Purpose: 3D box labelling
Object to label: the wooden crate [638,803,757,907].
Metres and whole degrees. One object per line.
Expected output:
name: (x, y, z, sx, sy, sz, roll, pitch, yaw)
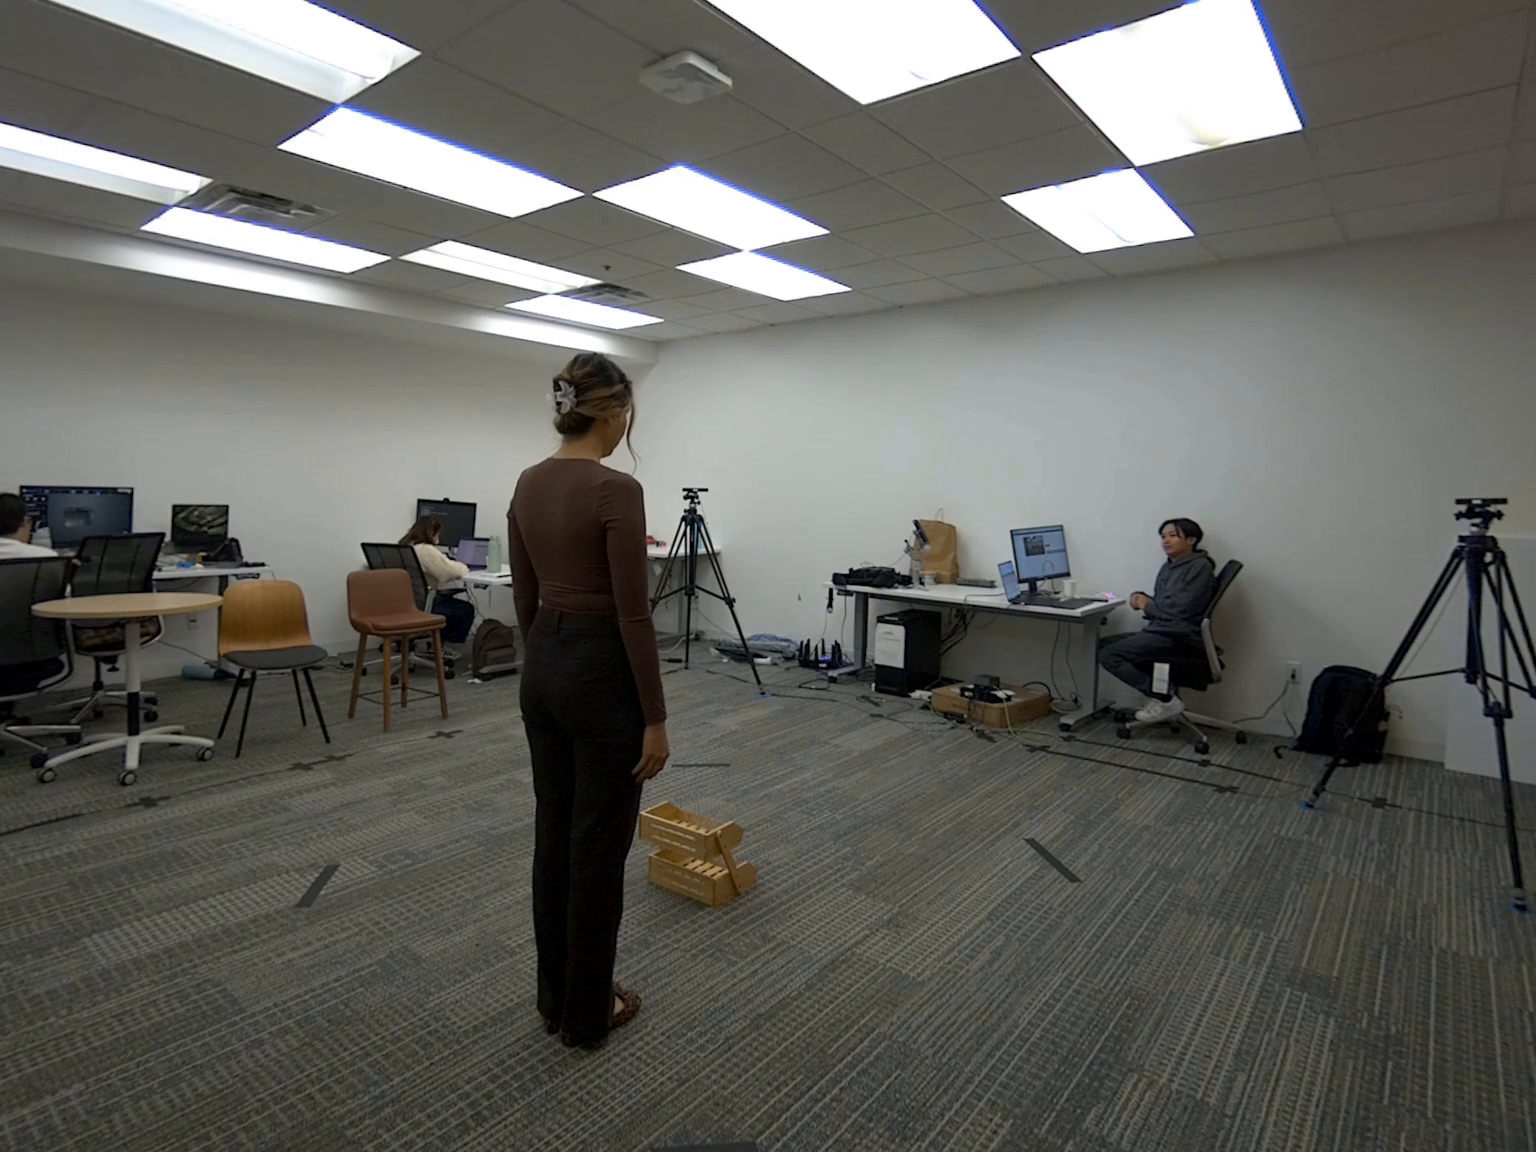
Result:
wooden crate: (-0.250, 0.946, 2.987, 0.335, 0.272, 0.293, 4, 5, 36)
